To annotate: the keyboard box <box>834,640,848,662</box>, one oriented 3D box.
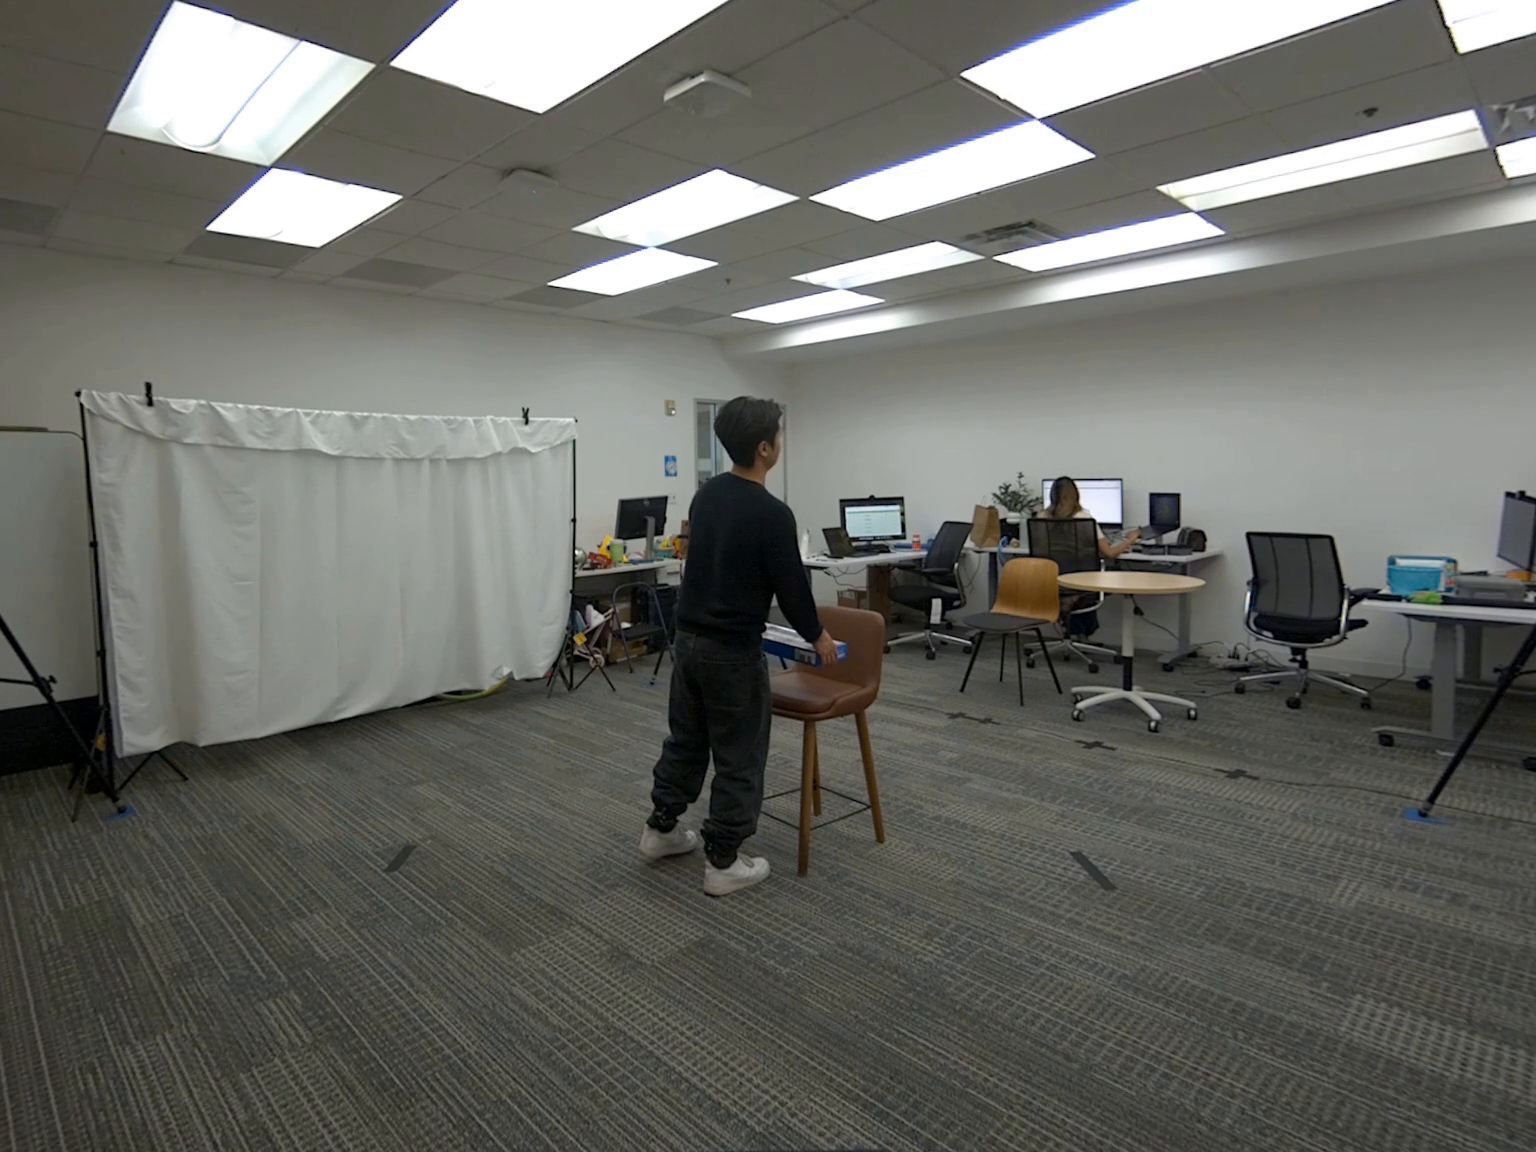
[{"bbox_3d":[0.063,0.247,3.172,0.451,0.058,0.171,12,14,39],"label":"keyboard box"}]
